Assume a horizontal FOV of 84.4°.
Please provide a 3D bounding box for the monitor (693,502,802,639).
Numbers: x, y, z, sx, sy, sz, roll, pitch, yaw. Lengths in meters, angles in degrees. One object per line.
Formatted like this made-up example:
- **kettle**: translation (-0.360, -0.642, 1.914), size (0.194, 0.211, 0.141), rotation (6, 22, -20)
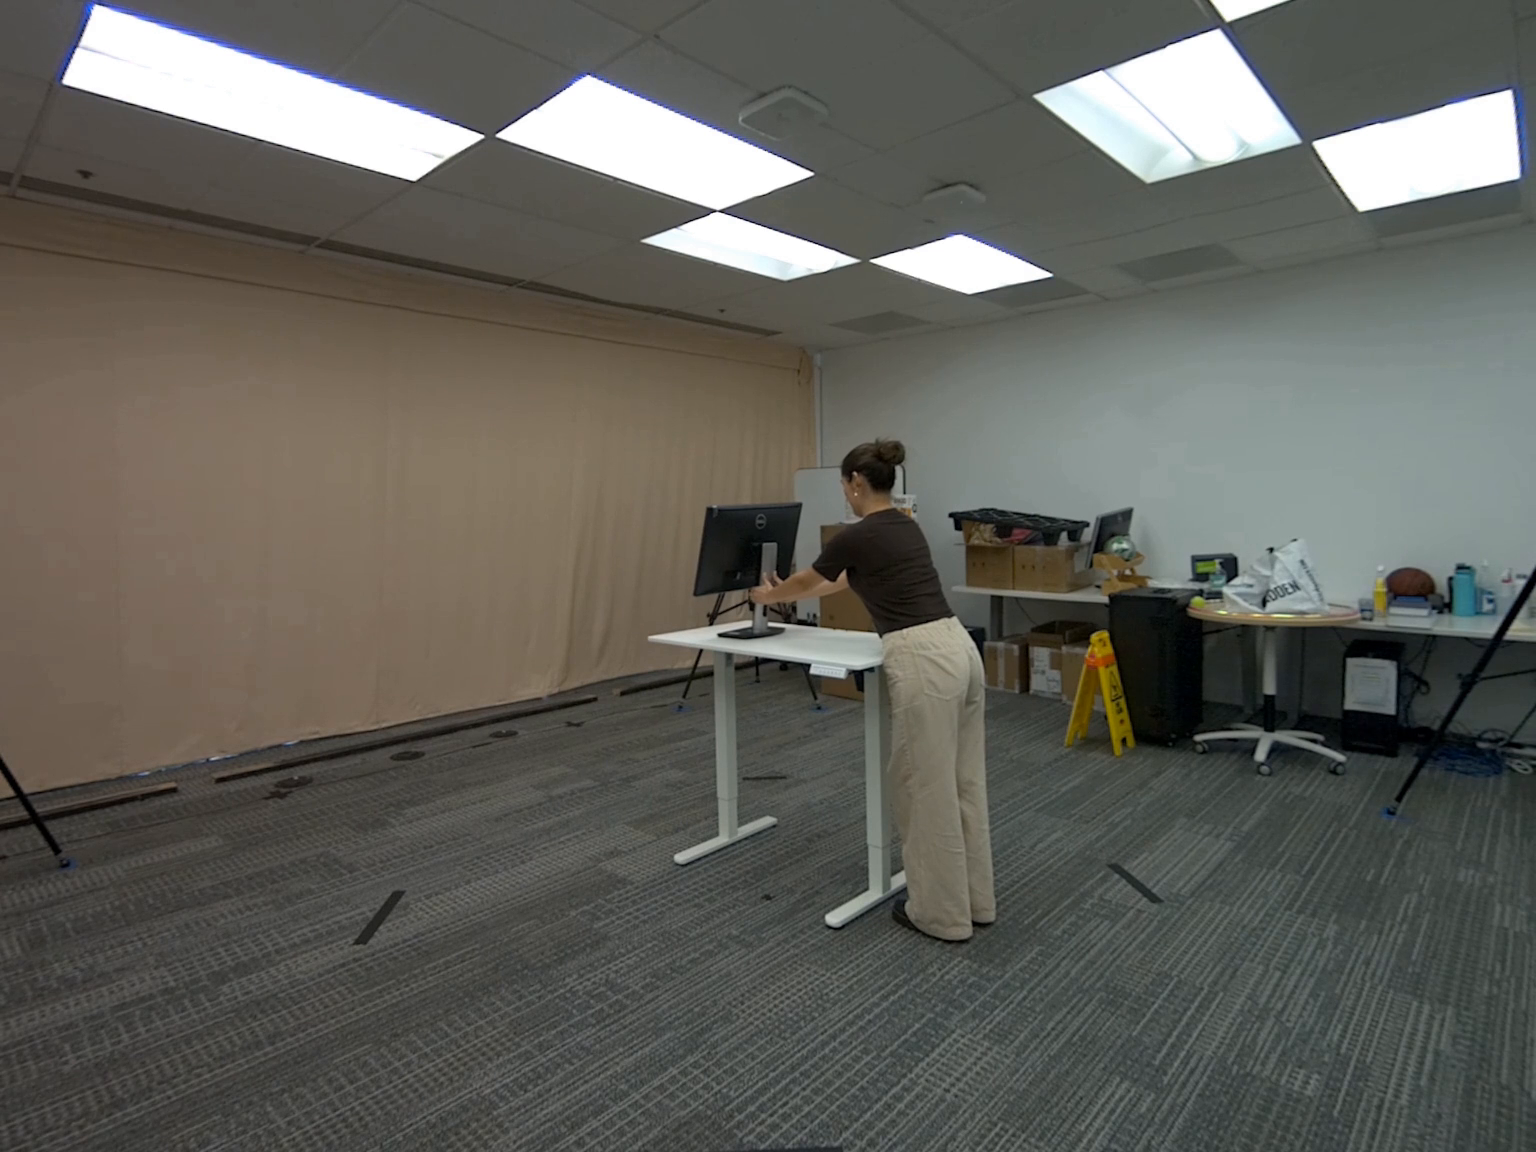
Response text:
- **monitor**: translation (-0.049, -0.021, 3.313), size (0.193, 0.521, 0.523), rotation (5, 7, 41)
